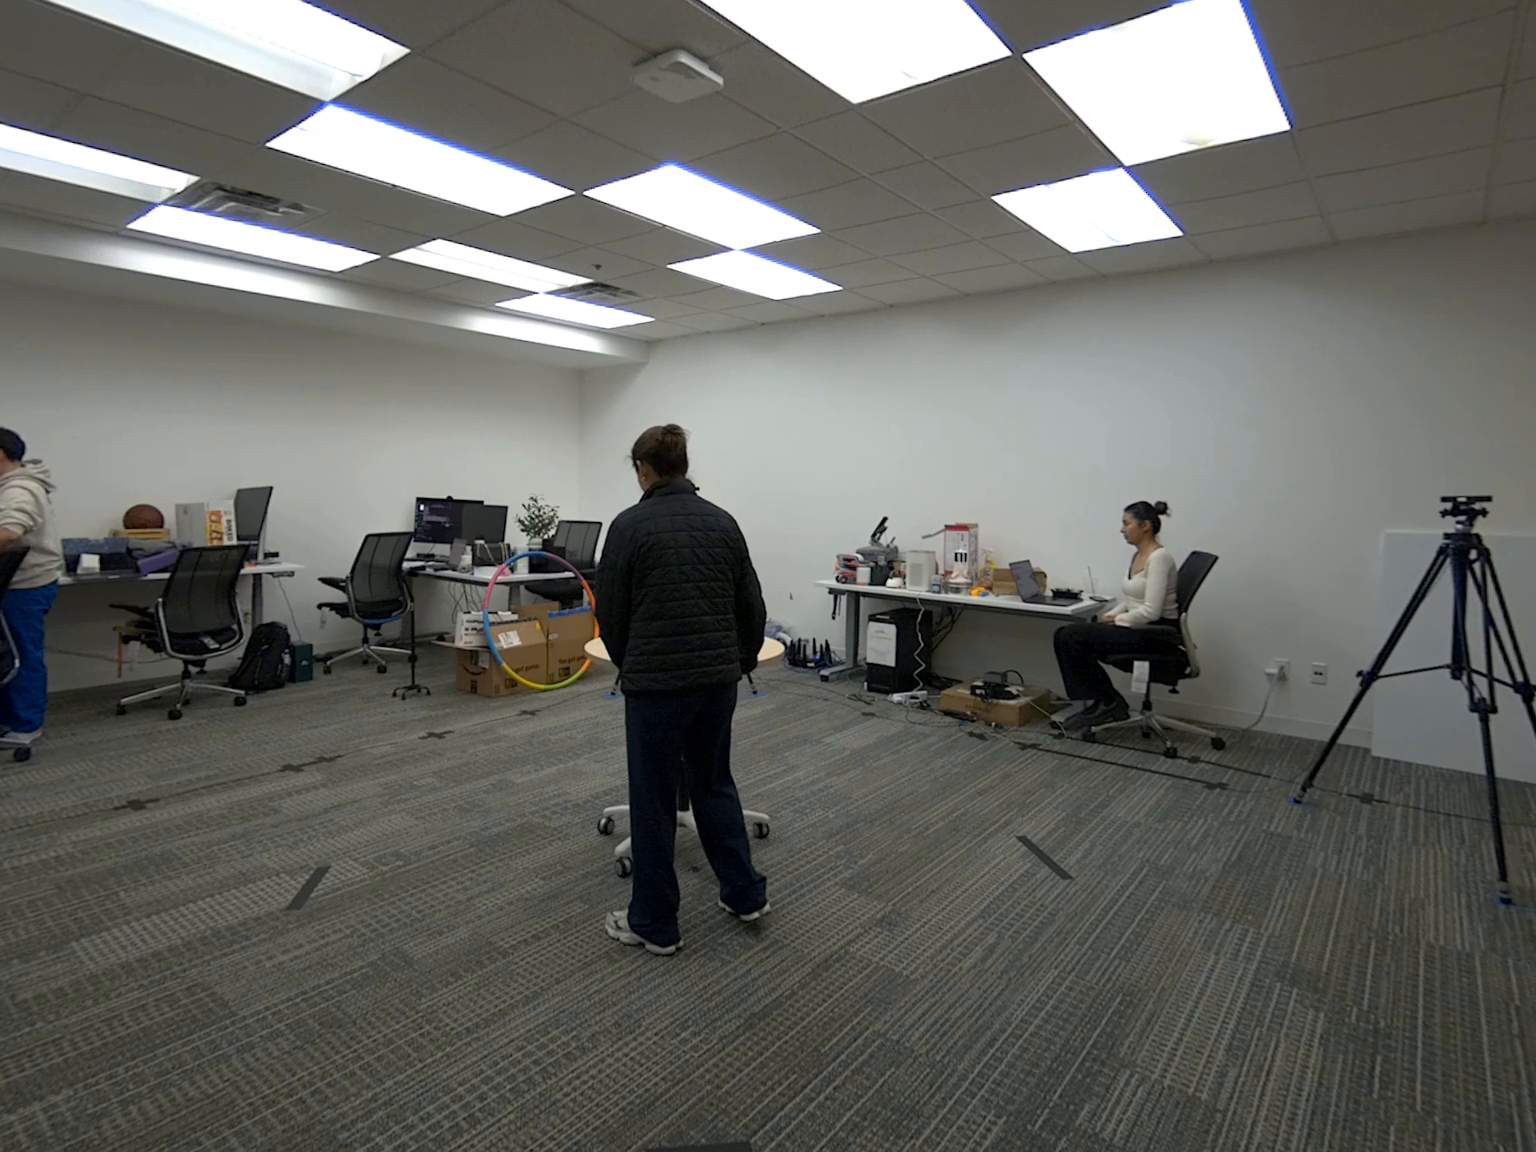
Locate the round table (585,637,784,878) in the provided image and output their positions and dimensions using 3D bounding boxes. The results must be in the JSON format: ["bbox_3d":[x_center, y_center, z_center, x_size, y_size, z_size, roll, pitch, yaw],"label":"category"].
[{"bbox_3d":[-0.313,0.648,3.299,0.784,0.784,0.789,1,4,-2],"label":"round table"}]
